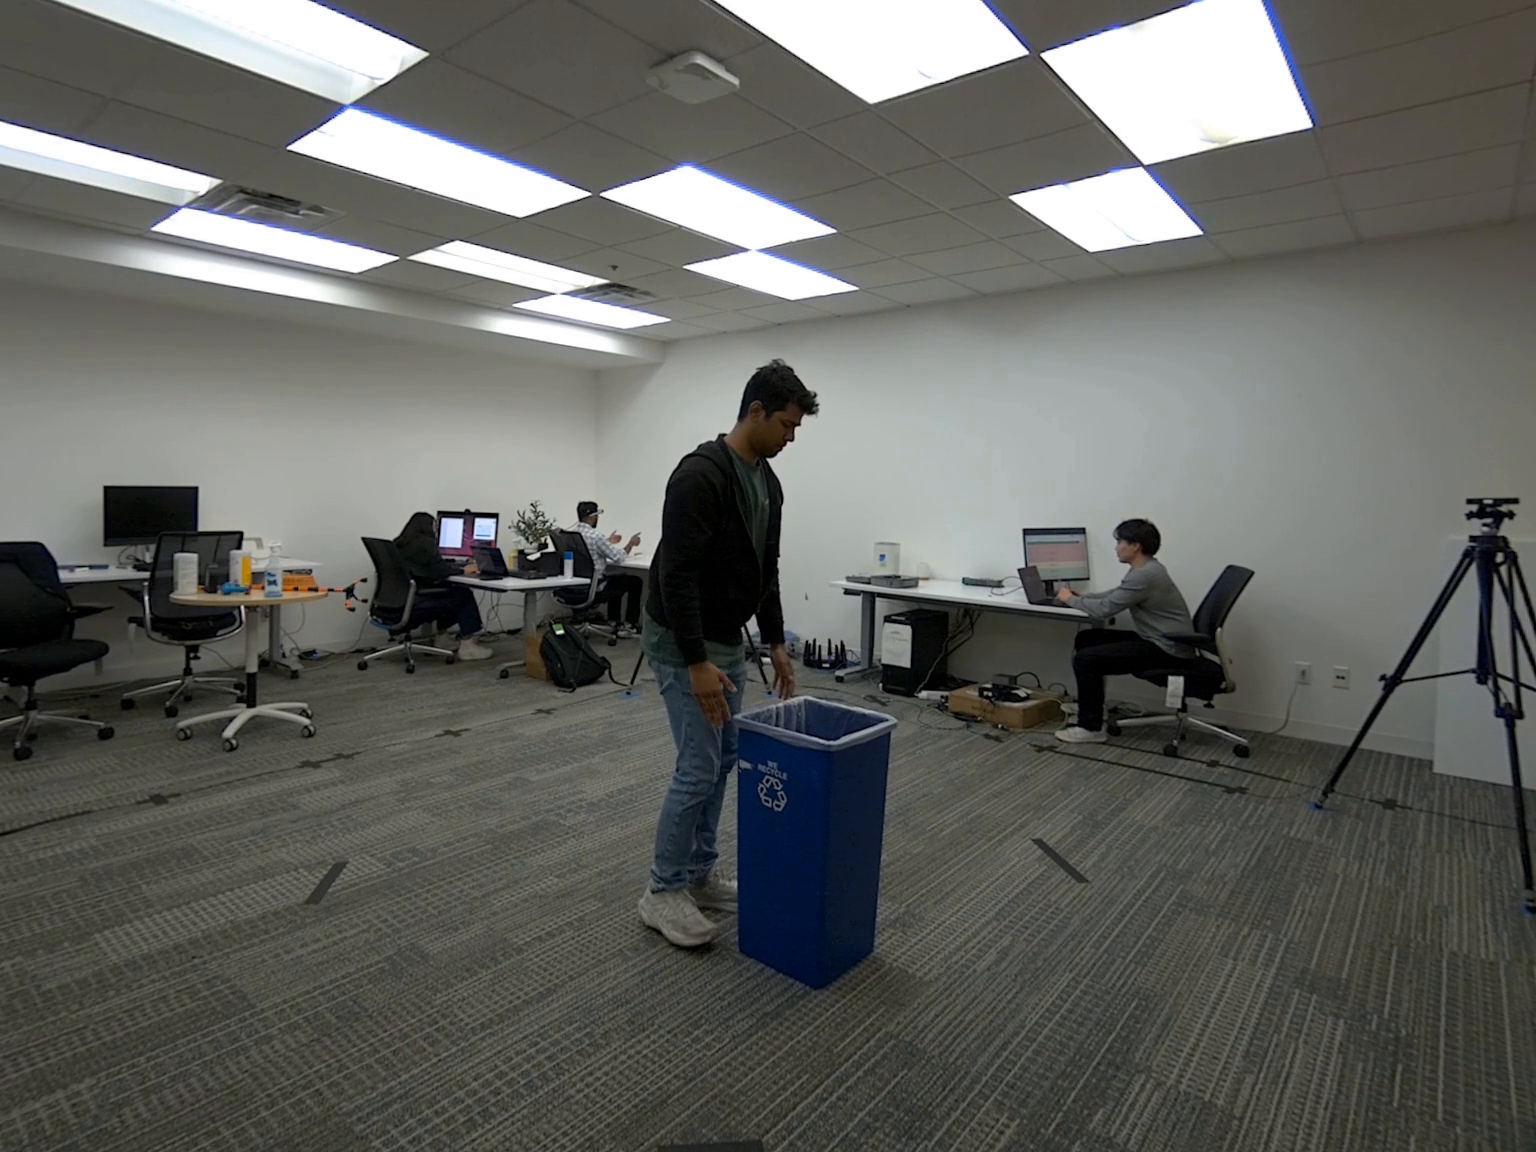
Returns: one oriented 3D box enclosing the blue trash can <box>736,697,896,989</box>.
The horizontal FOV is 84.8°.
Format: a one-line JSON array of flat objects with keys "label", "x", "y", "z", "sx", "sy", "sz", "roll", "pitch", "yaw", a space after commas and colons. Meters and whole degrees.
[{"label": "blue trash can", "x": 0.129, "y": 0.773, "z": 2.544, "sx": 0.387, "sy": 0.711, "sz": 0.367, "roll": 4, "pitch": 5, "yaw": 39}]
